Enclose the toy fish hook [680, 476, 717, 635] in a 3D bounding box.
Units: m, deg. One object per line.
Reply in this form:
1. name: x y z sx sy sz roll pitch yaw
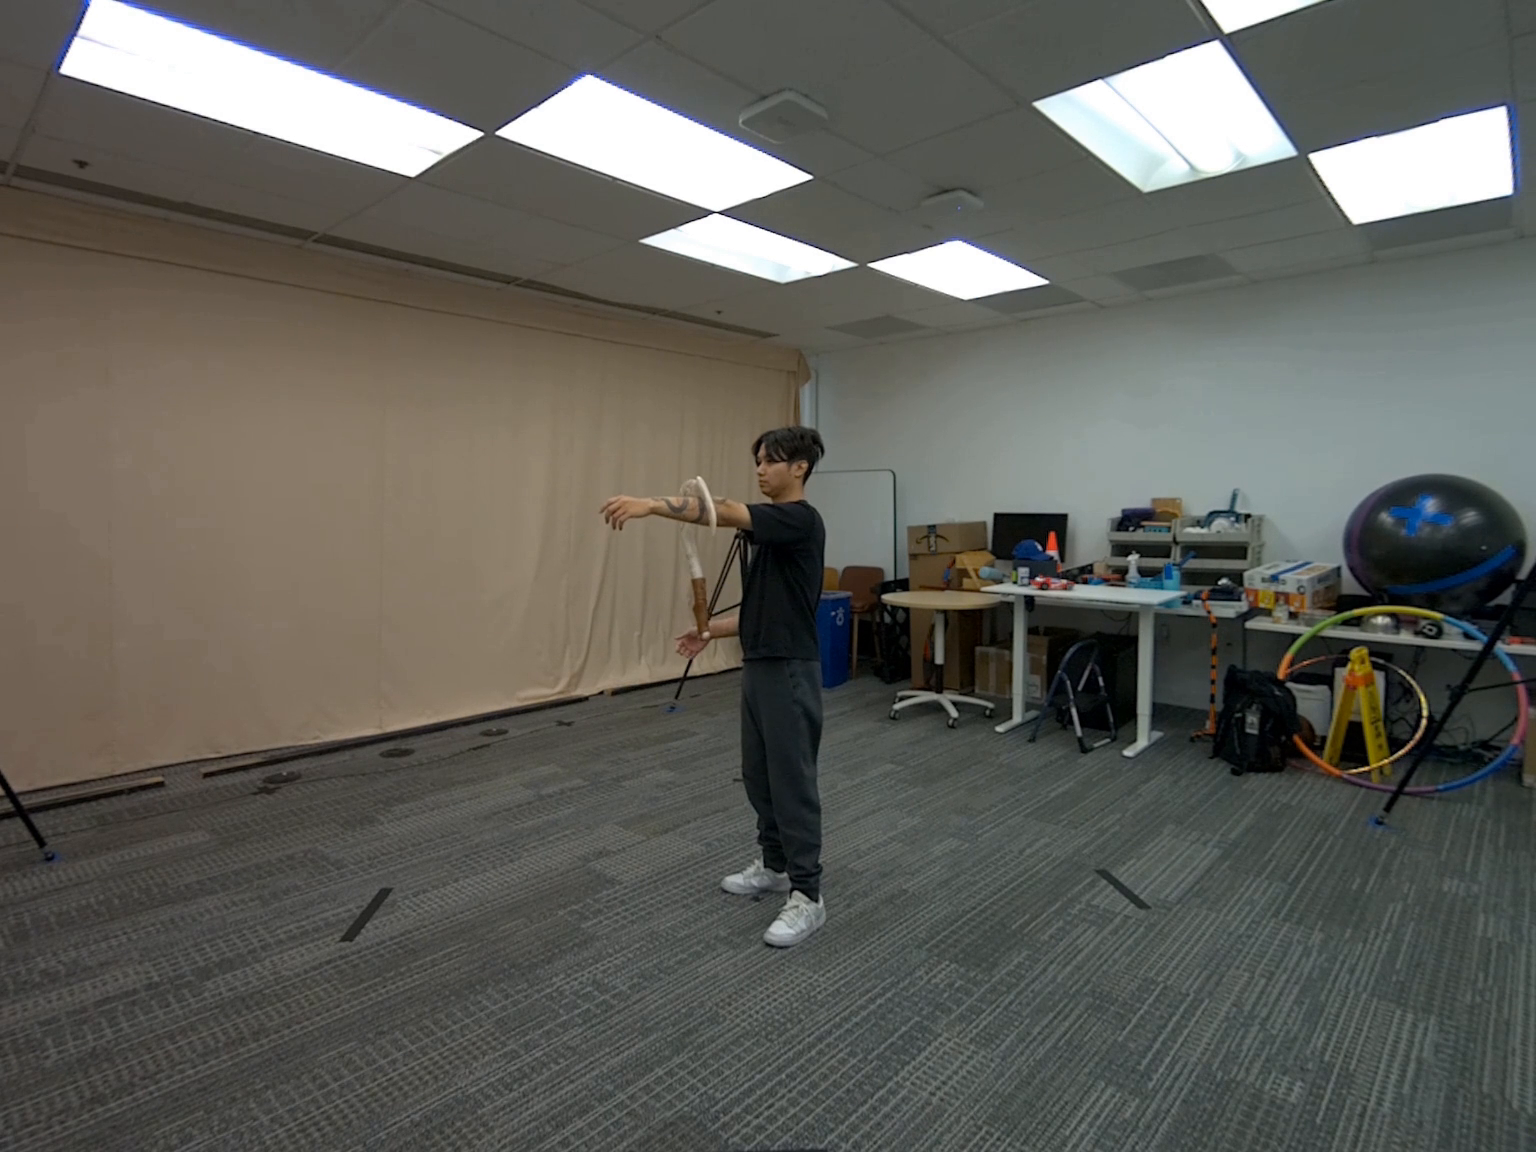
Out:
1. toy fish hook: -0.202 -0.047 2.609 0.047 0.507 0.230 -5 -2 -28
